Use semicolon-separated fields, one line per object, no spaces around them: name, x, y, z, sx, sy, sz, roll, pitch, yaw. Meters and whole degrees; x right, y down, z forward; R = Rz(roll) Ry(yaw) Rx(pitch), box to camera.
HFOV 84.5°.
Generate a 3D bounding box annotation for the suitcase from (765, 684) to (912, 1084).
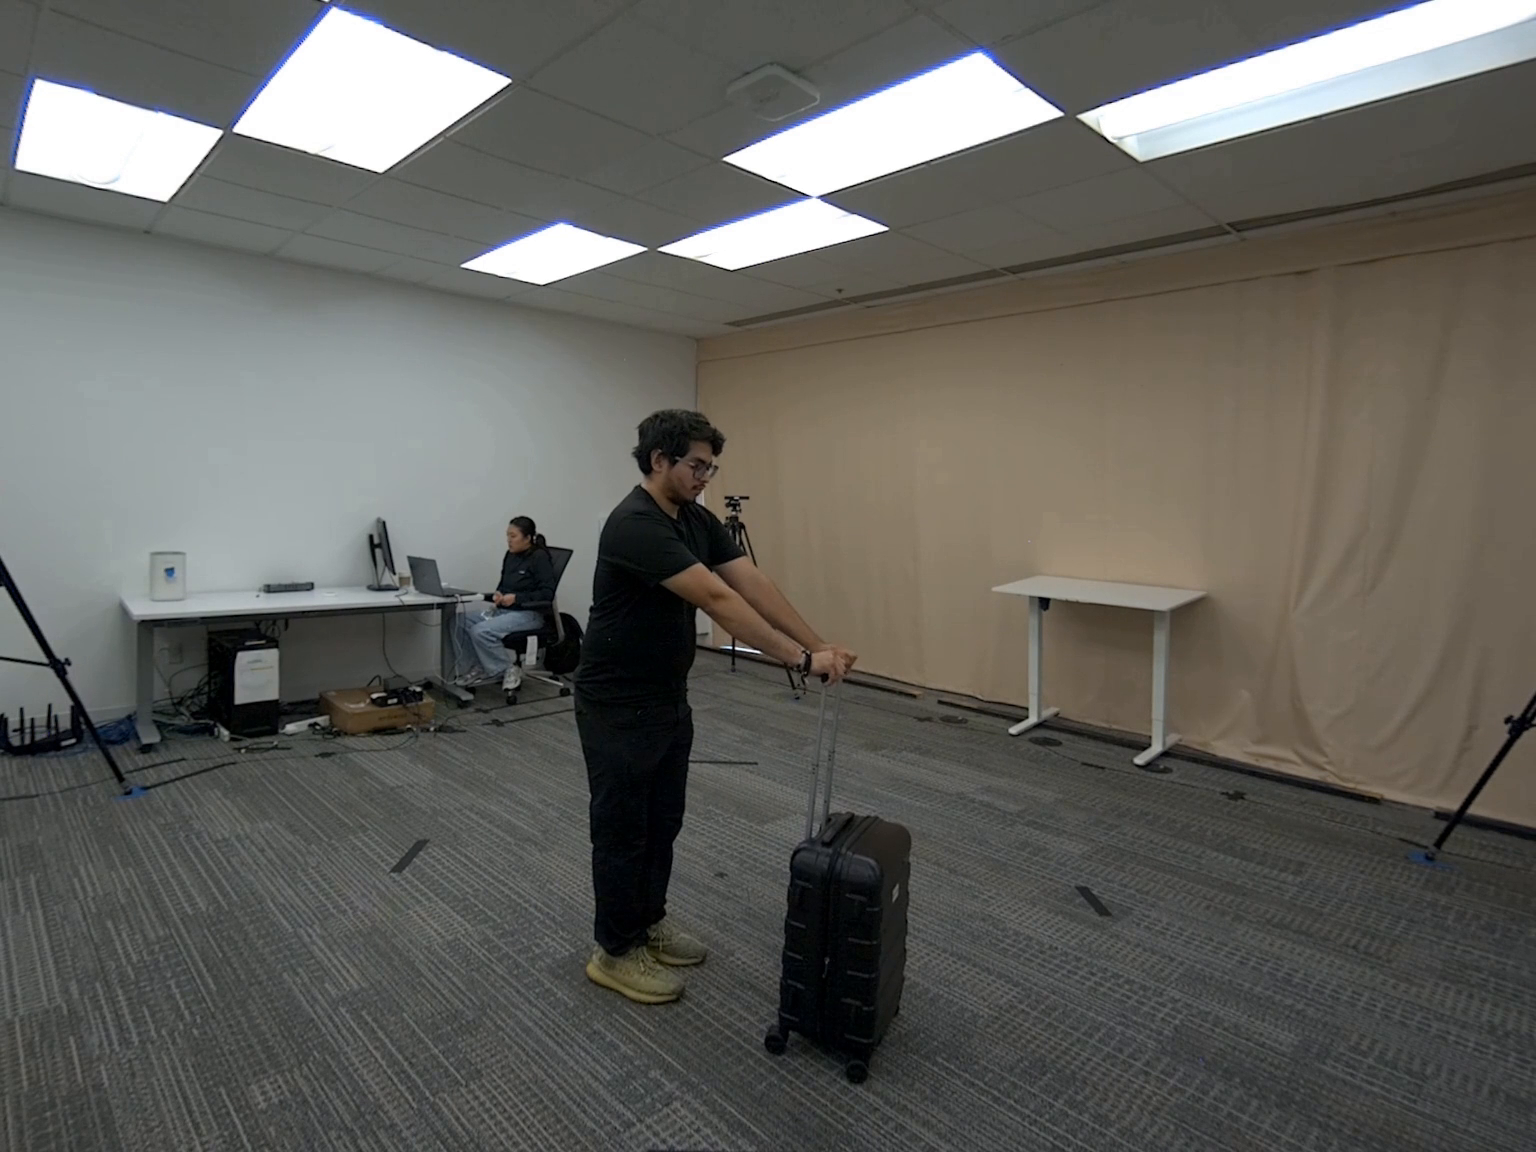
suitcase;0.217;0.726;2.177;0.262;0.976;0.378;6;4;22
